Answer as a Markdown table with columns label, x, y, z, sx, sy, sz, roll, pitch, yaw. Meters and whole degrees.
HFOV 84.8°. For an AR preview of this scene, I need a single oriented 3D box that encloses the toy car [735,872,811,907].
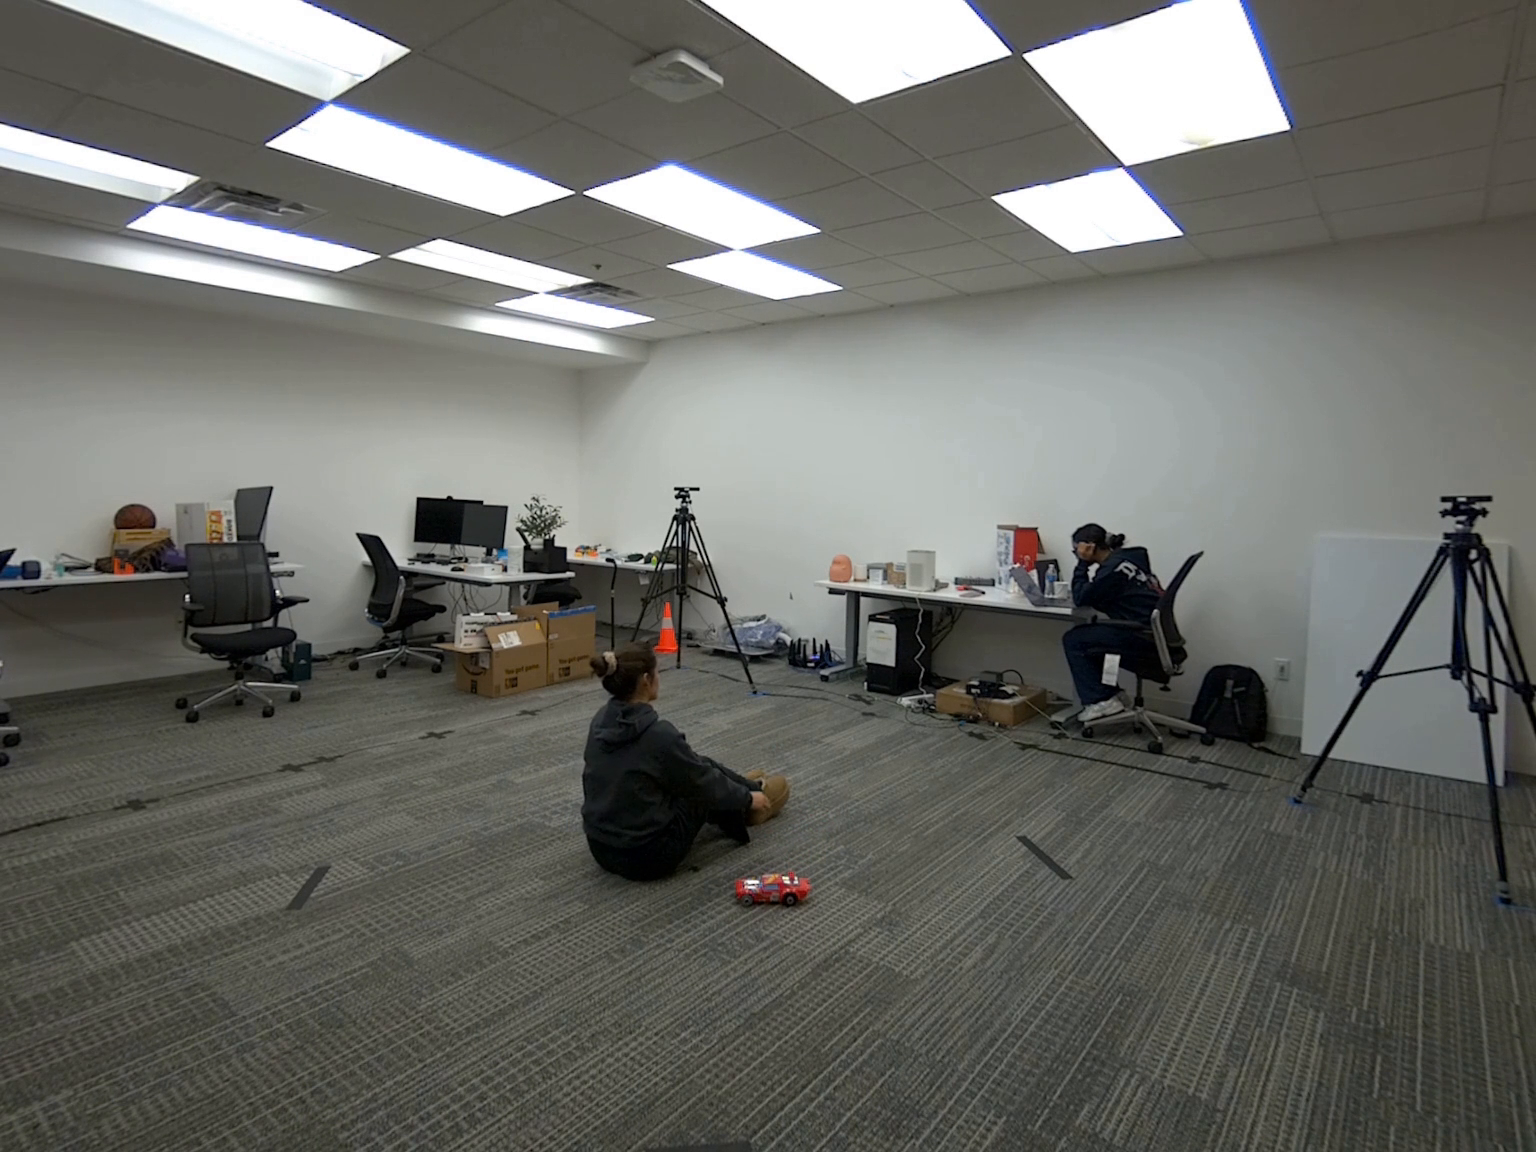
| label | x | y | z | sx | sy | sz | roll | pitch | yaw |
| --- | --- | --- | --- | --- | --- | --- | --- | --- | --- |
| toy car | 0.023 | 1.061 | 2.883 | 0.254 | 0.083 | 0.131 | -11 | 5 | -1 |
